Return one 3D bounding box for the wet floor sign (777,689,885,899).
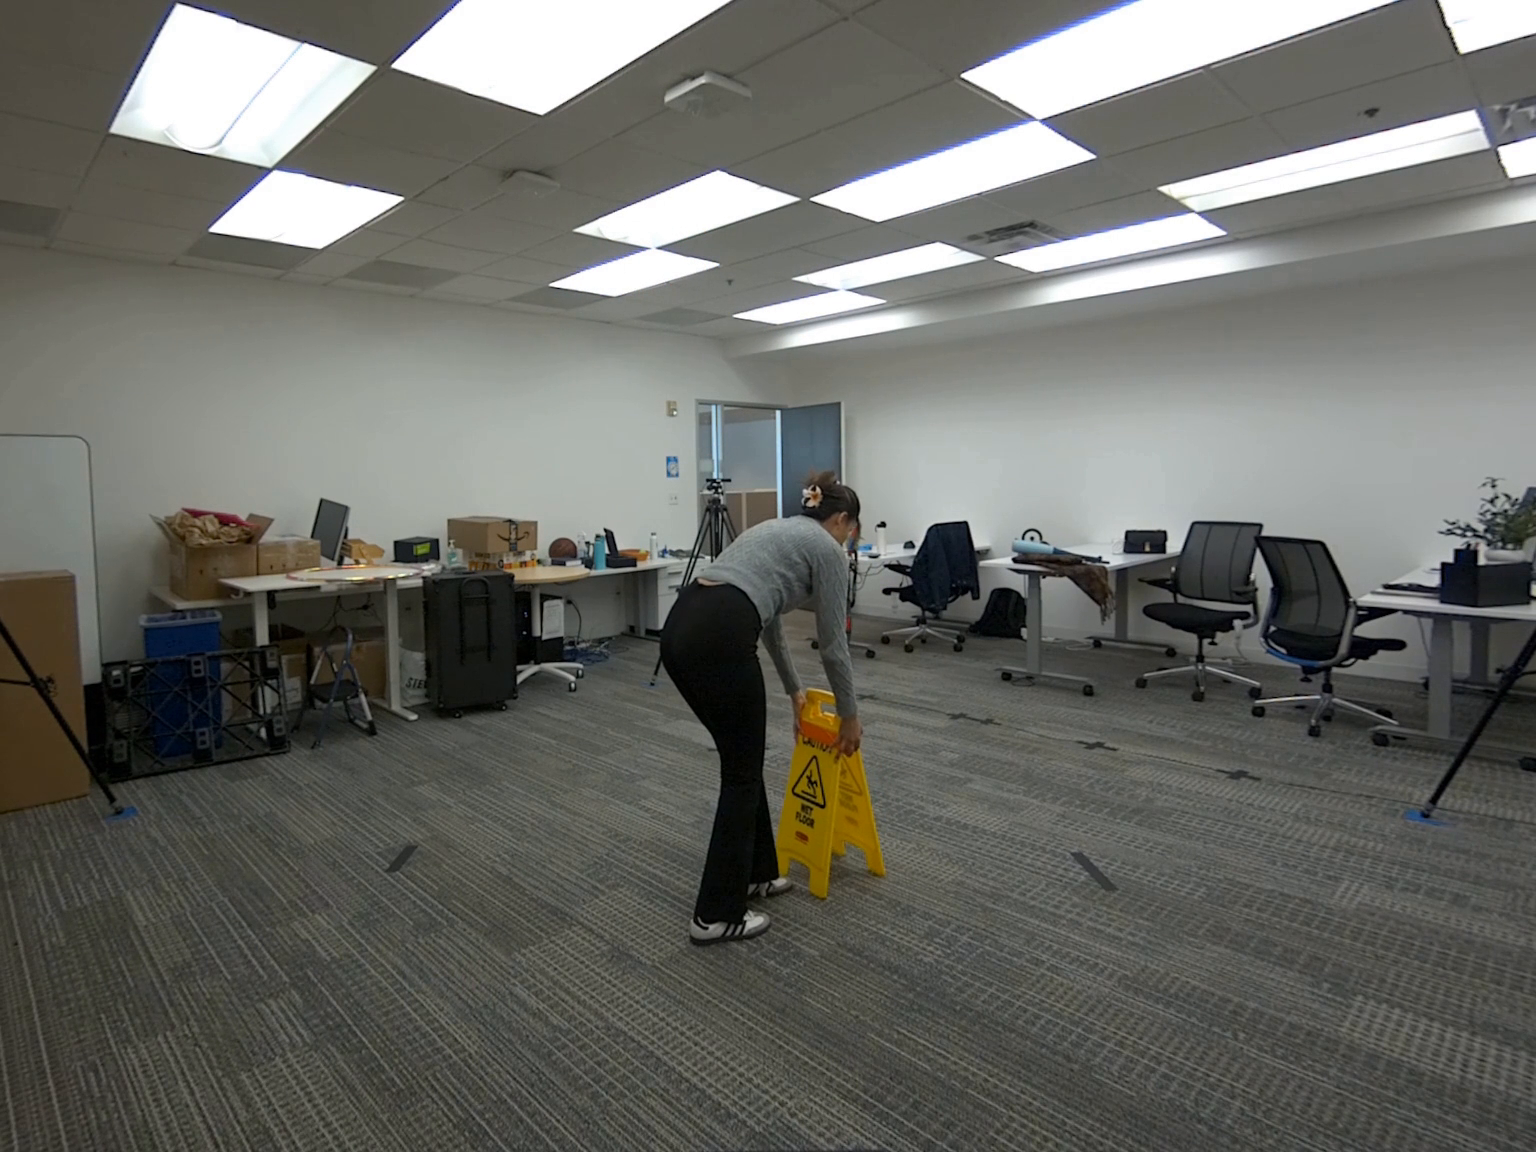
[{"bbox_3d":[0.211,0.727,3.001,0.282,0.644,0.291,-3,5,-36],"label":"wet floor sign"}]
